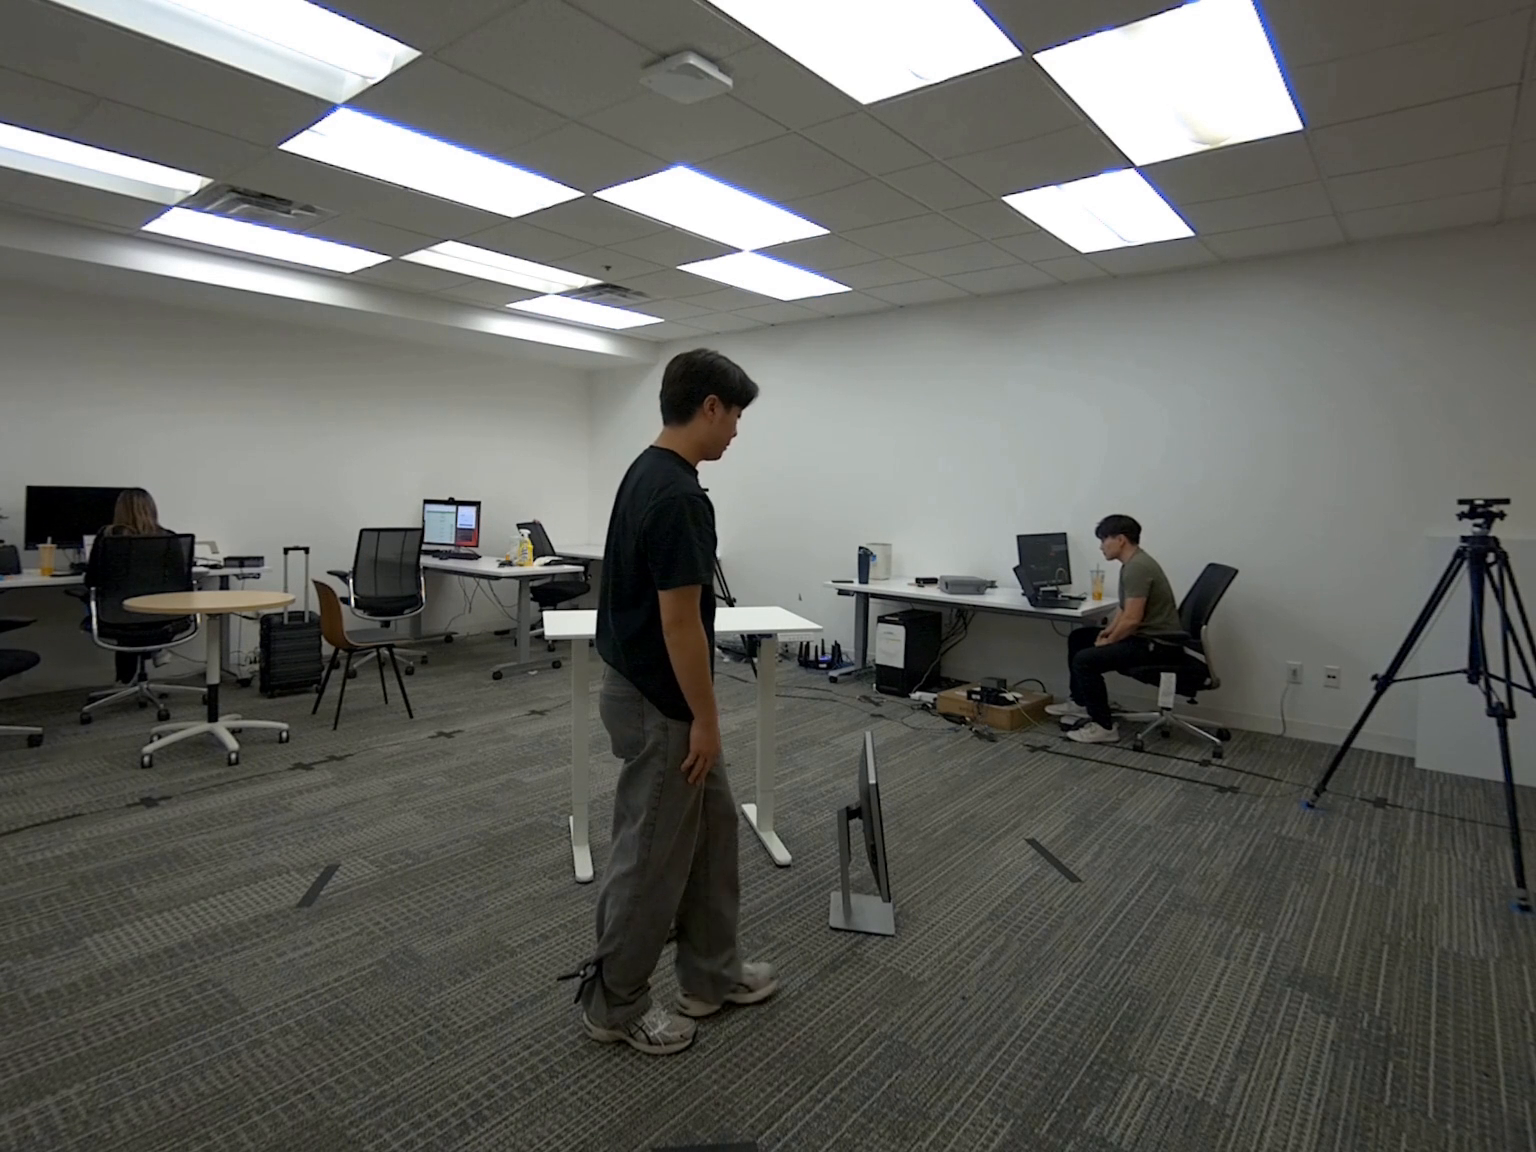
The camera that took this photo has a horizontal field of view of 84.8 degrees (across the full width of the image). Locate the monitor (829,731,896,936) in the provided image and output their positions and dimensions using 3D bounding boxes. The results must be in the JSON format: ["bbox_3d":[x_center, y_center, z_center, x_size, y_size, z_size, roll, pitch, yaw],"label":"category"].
[{"bbox_3d":[0.318,0.854,2.788,0.225,0.564,0.558,7,5,8],"label":"monitor"}]
